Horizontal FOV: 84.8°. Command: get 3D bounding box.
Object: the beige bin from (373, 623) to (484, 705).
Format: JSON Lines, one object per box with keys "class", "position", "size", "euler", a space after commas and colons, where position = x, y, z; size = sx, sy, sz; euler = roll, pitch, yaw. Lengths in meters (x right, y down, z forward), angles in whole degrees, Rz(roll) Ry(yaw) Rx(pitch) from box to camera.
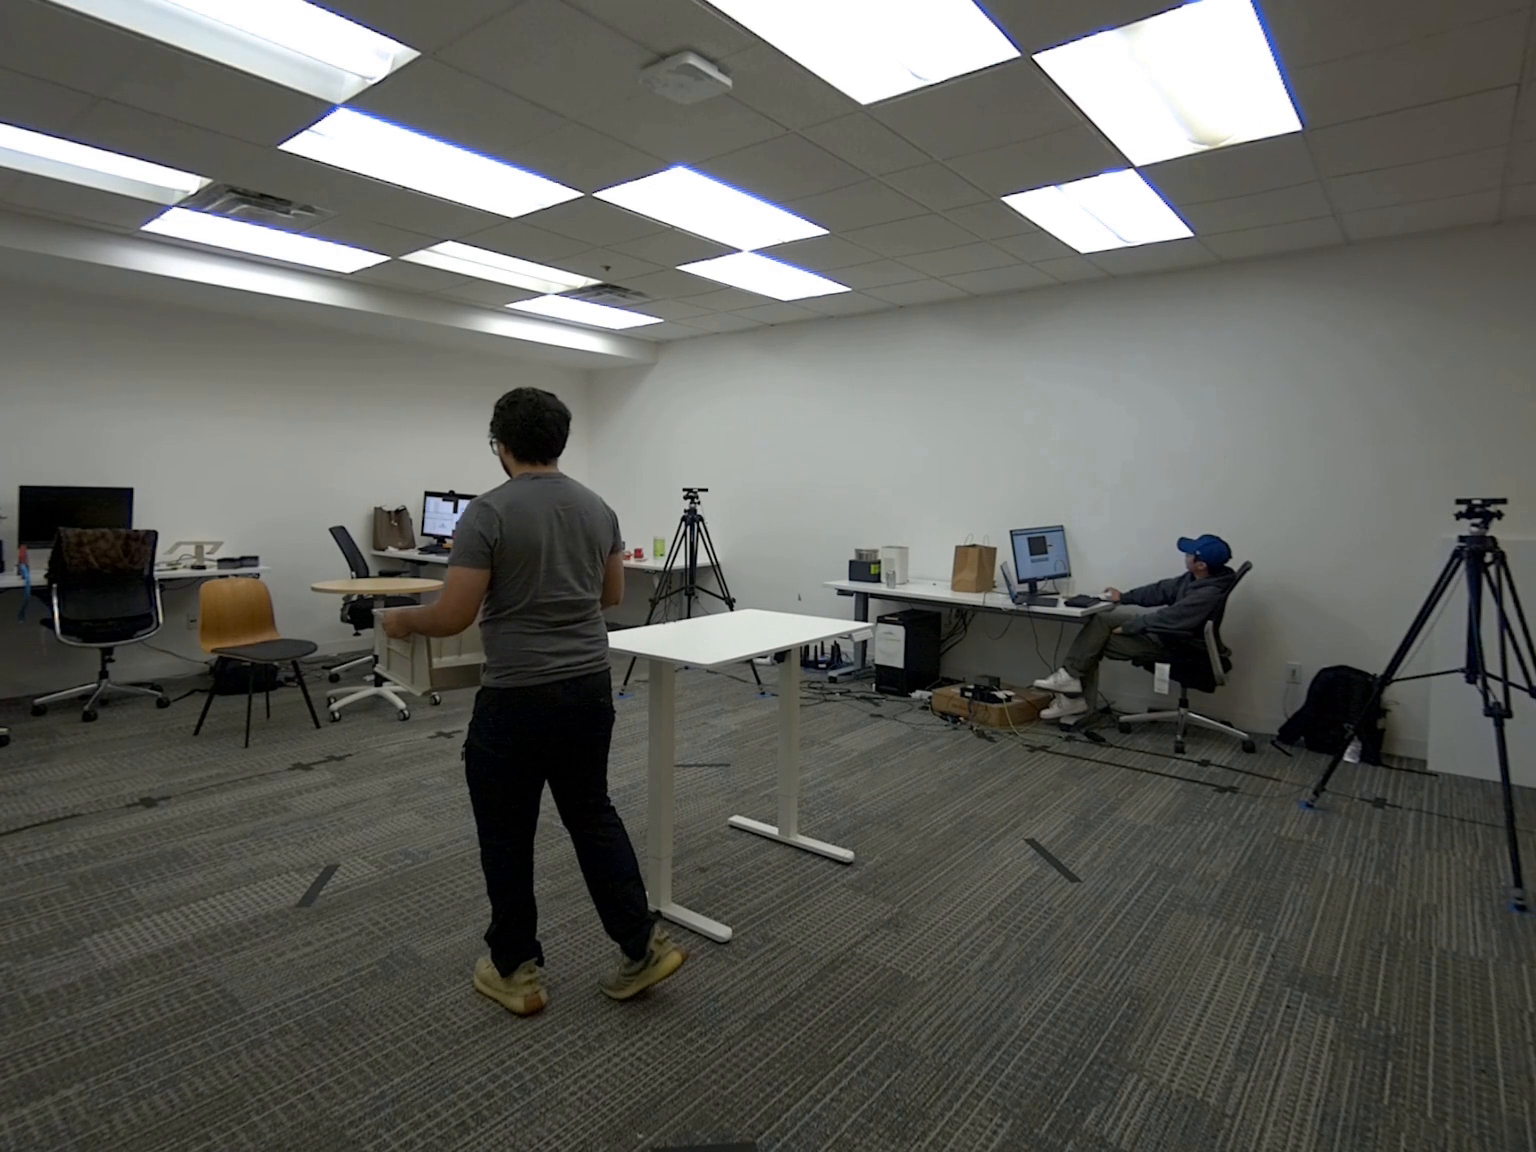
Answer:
{"class": "beige bin", "position": [-0.890, 0.203, 2.492], "size": [0.391, 0.188, 0.409], "euler": [8, 8, 43]}
